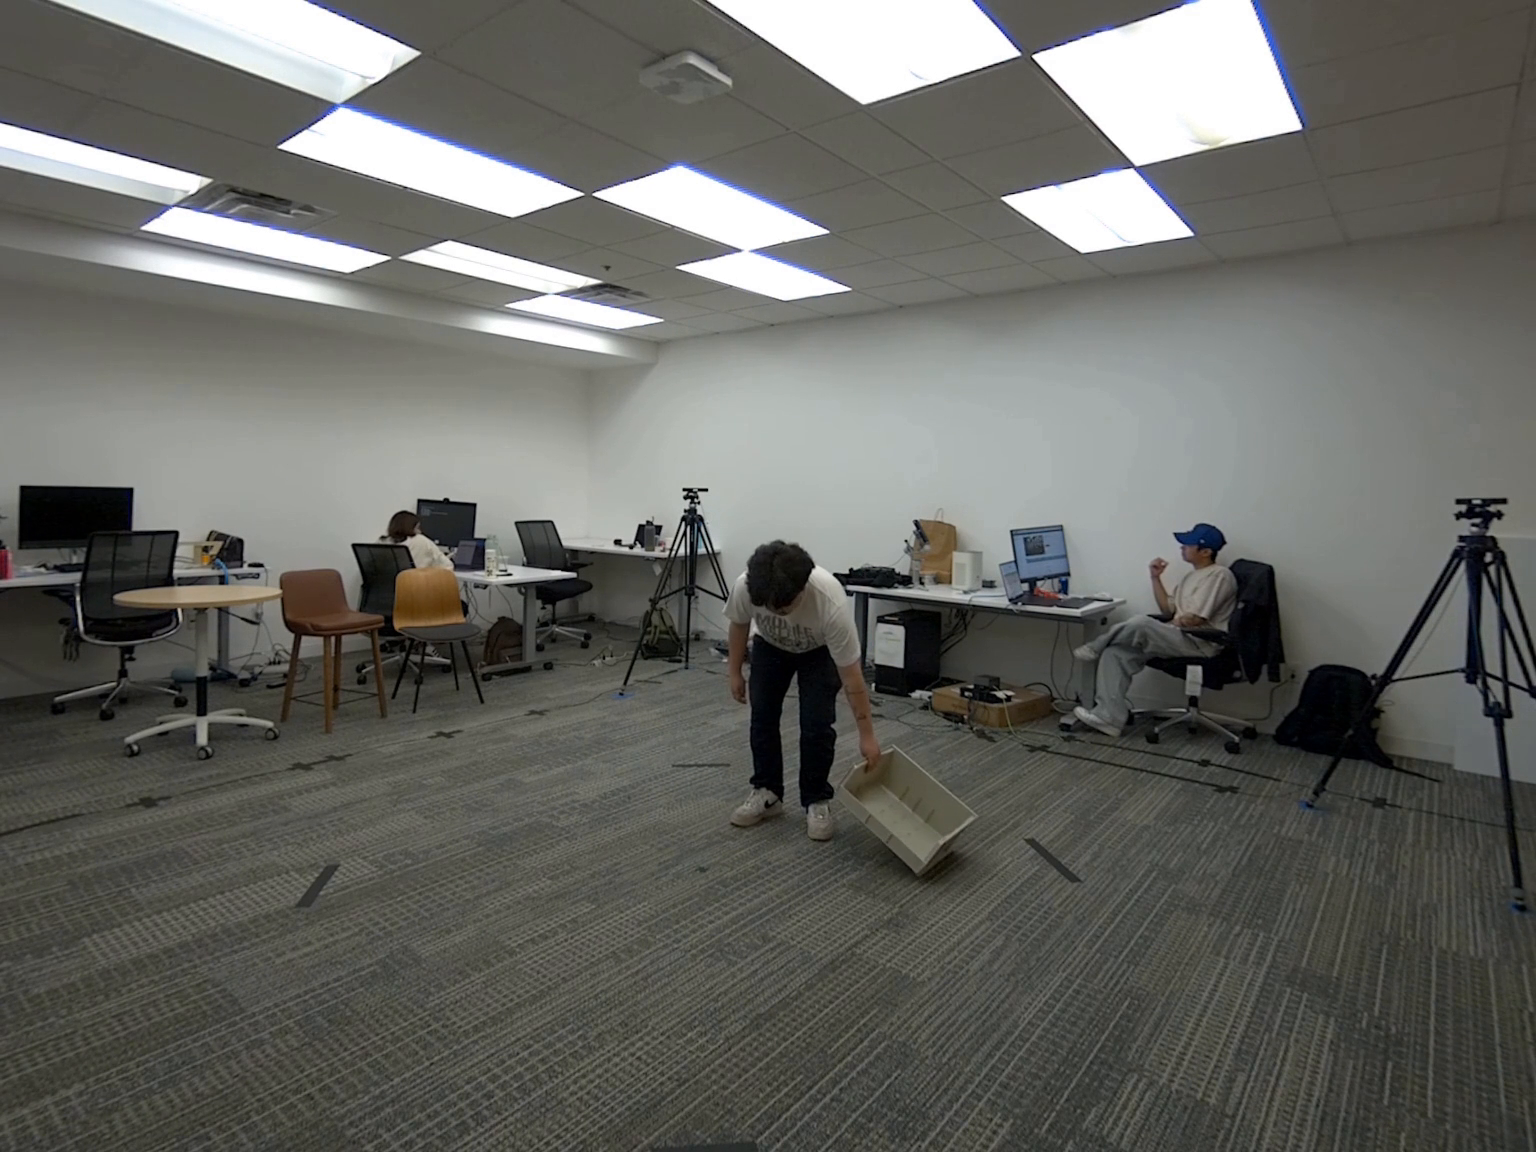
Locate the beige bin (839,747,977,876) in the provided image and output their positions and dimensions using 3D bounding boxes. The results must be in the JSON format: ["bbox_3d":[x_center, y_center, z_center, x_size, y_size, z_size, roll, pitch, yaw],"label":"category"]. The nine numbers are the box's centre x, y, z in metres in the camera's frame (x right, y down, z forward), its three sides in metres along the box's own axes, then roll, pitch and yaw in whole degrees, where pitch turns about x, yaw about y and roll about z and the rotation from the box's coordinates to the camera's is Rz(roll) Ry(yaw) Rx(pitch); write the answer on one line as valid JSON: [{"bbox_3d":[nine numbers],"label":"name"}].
[{"bbox_3d":[0.513,0.894,3.266,0.438,0.187,0.366,37,23,29],"label":"beige bin"}]
